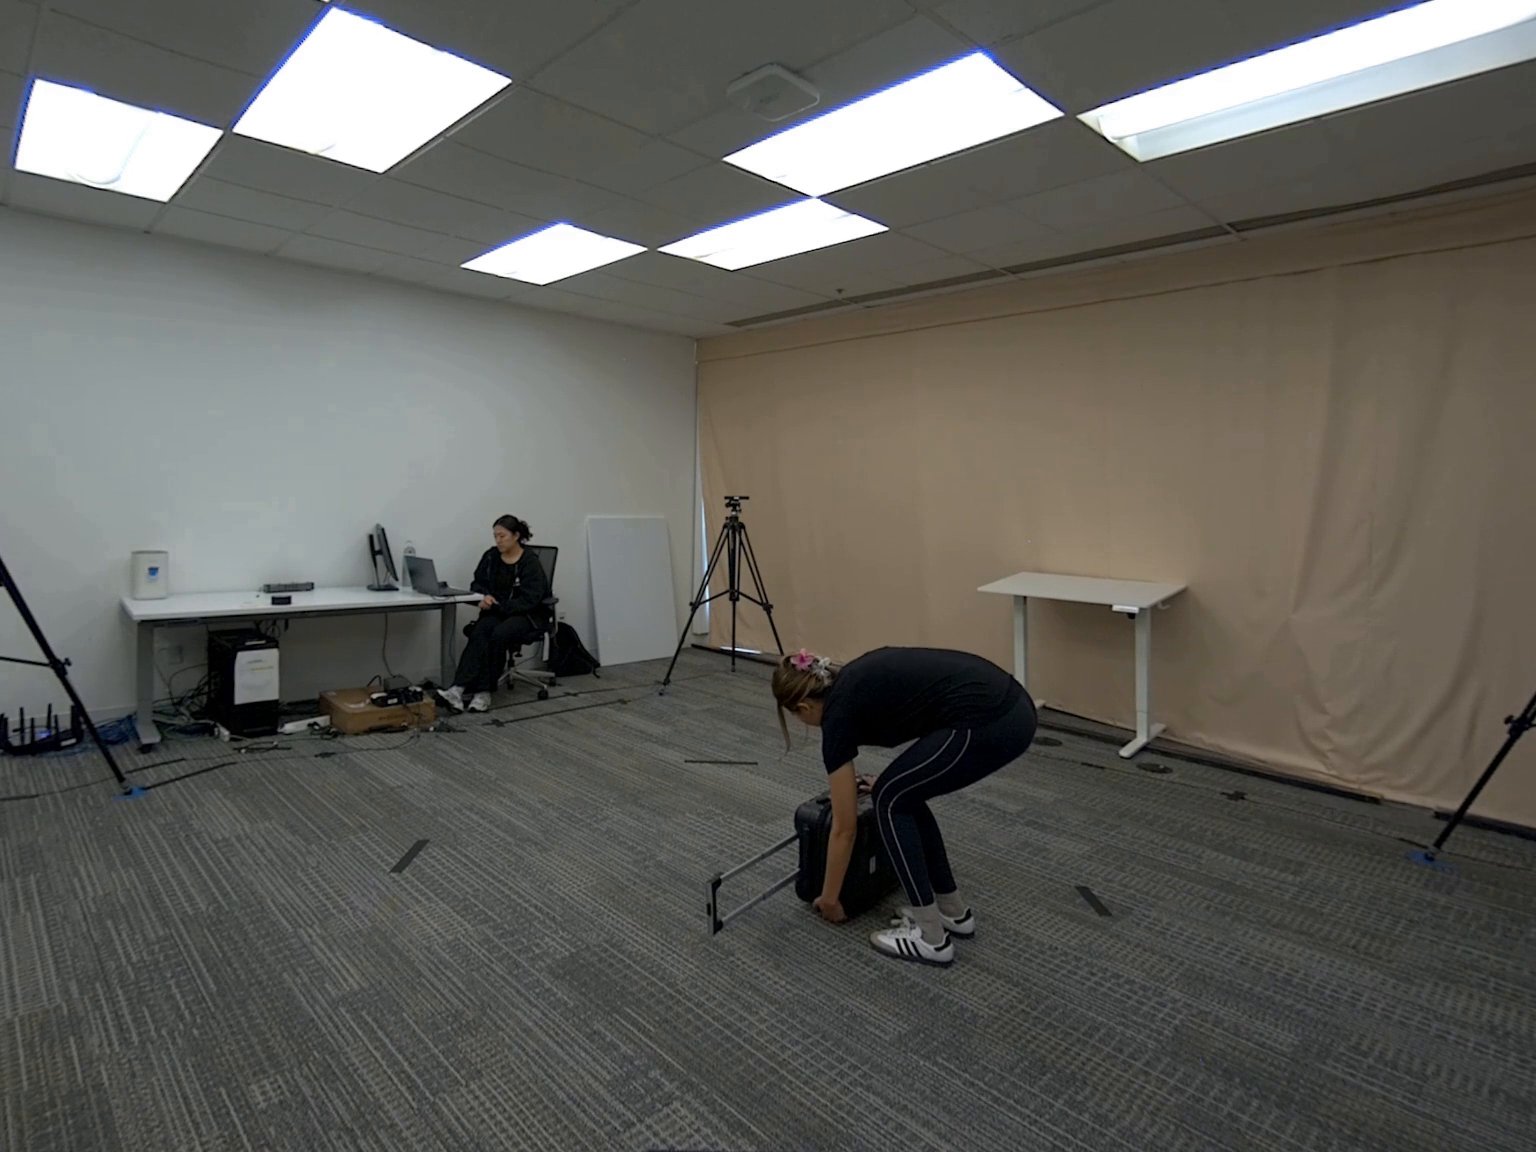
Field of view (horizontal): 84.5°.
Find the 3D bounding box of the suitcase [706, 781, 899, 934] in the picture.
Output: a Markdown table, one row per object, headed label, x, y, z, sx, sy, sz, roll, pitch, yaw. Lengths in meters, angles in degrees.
| label | x | y | z | sx | sy | sz | roll | pitch | yaw |
| --- | --- | --- | --- | --- | --- | --- | --- | --- | --- |
| suitcase | 0.200 | 0.947 | 2.814 | 0.263 | 0.383 | 0.958 | 4 | 5 | 35 |
